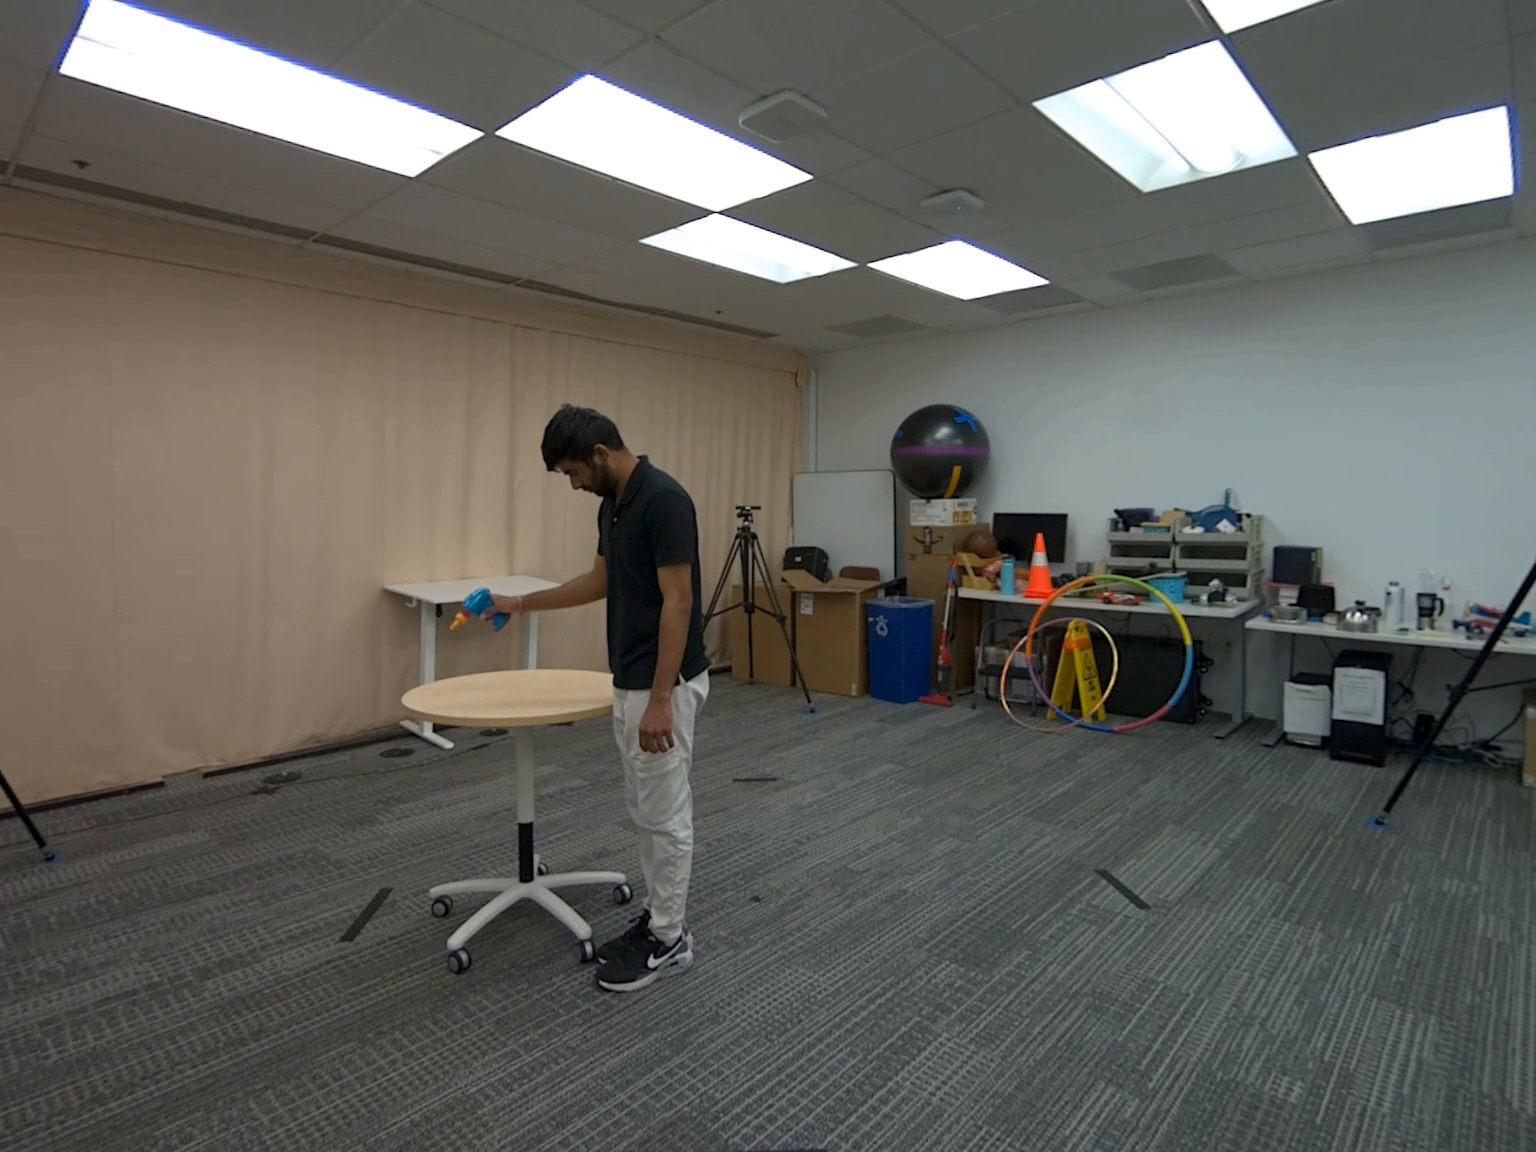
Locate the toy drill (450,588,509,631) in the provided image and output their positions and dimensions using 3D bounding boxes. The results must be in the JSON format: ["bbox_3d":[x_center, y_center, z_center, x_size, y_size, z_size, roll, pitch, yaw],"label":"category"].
[{"bbox_3d":[-0.902,0.134,2.648,0.063,0.142,0.169,-9,39,51],"label":"toy drill"}]
